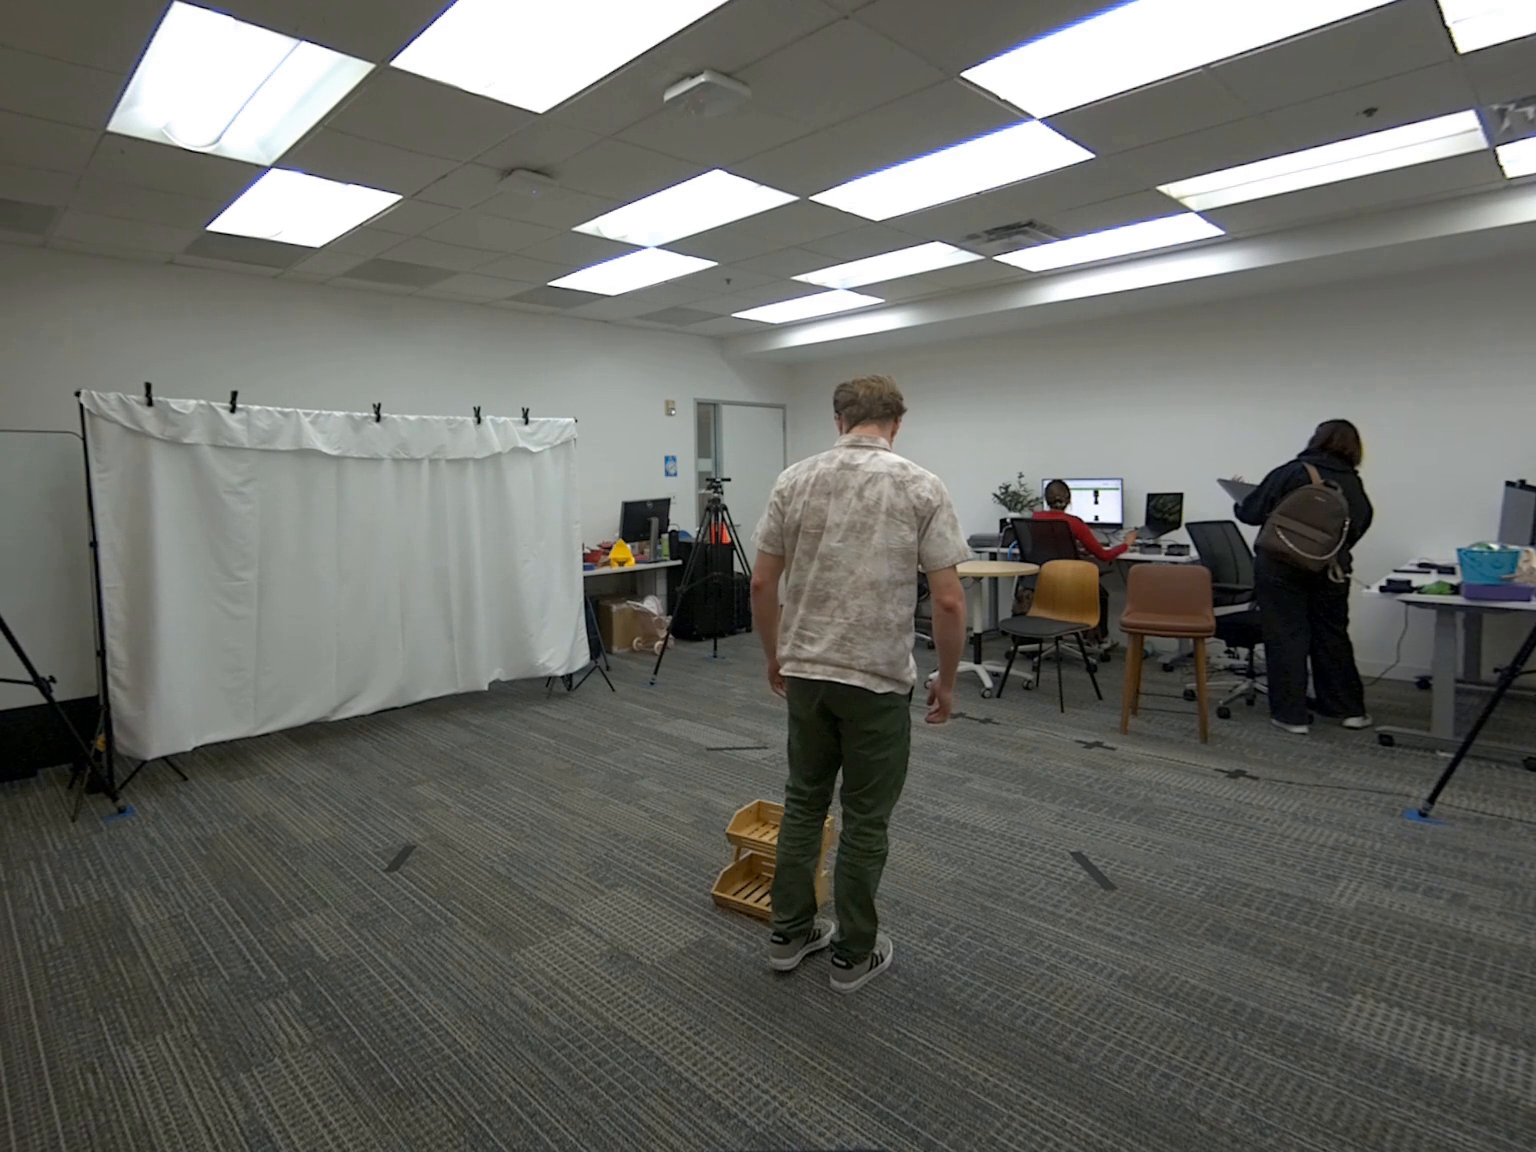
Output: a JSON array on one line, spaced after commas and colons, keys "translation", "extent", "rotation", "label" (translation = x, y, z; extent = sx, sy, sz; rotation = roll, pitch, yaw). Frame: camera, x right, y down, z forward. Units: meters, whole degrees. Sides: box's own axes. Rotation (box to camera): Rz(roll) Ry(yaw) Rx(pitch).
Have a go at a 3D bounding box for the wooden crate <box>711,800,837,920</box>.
[{"translation": [0.021, 0.941, 2.824], "extent": [0.333, 0.272, 0.295], "rotation": [3, 6, 33], "label": "wooden crate"}]
